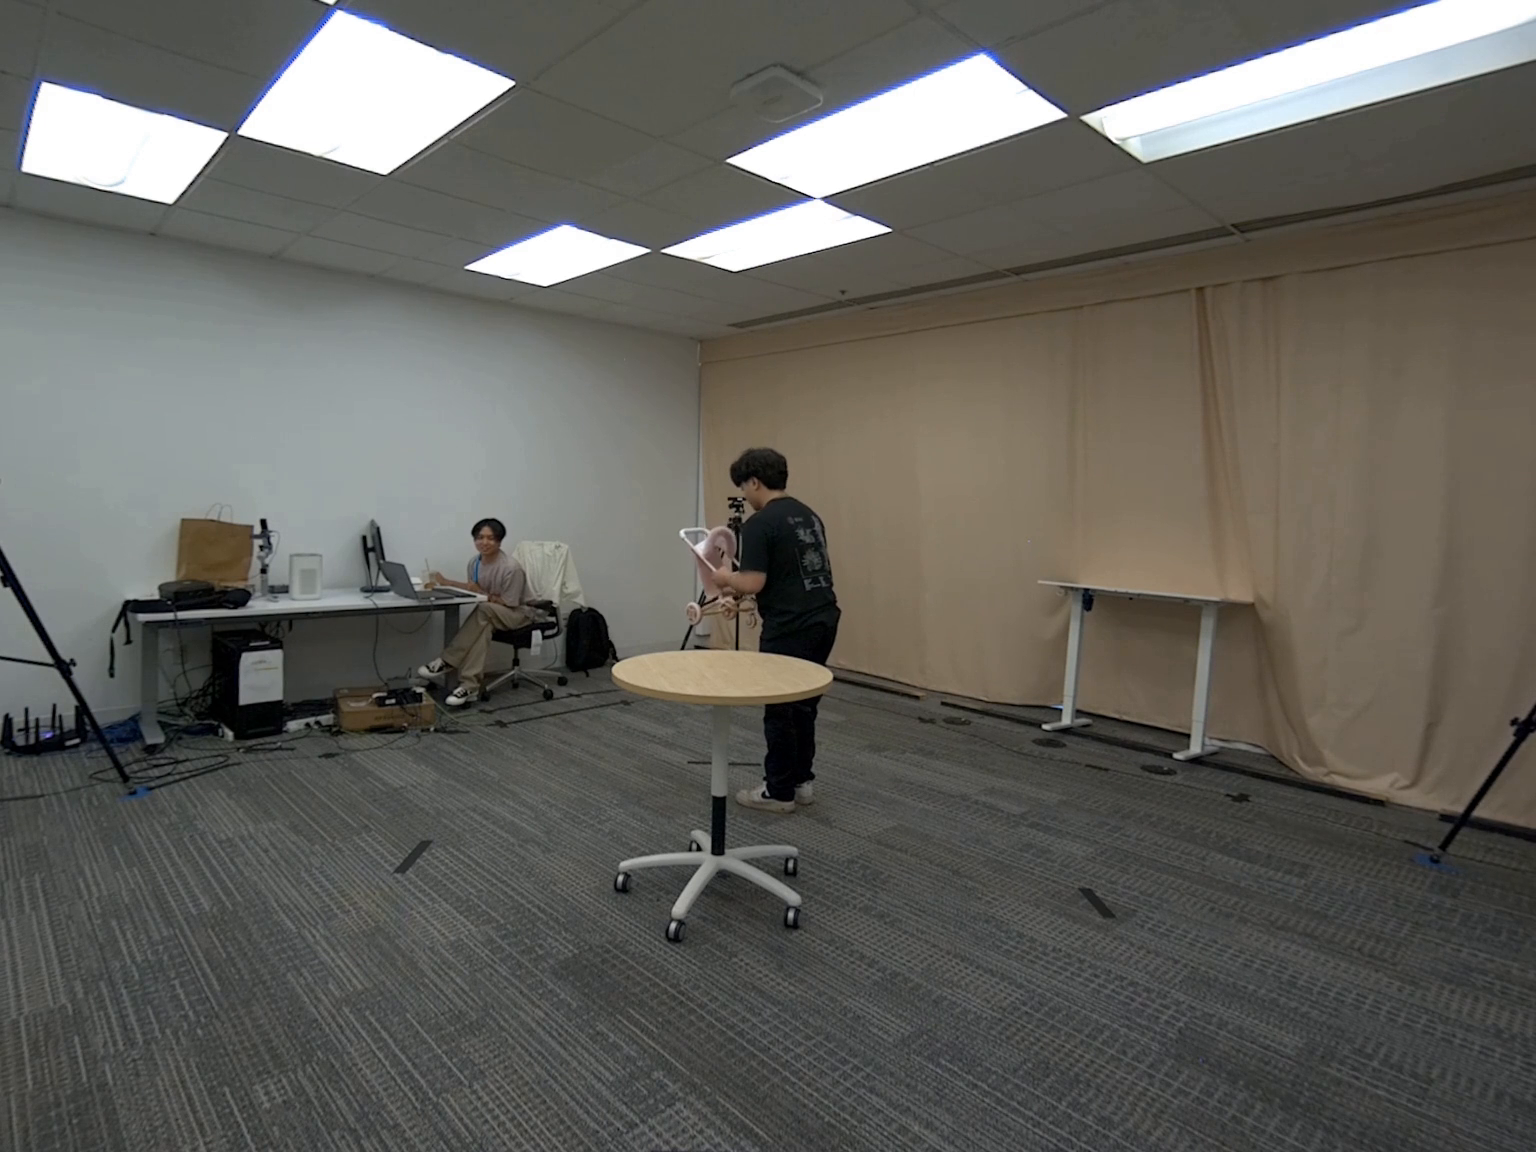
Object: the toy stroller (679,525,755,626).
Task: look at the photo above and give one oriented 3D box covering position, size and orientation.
[{"bbox_3d":[-0.227,0.012,4.032,0.275,0.538,0.347,-3,-8,-43],"label":"toy stroller"}]
